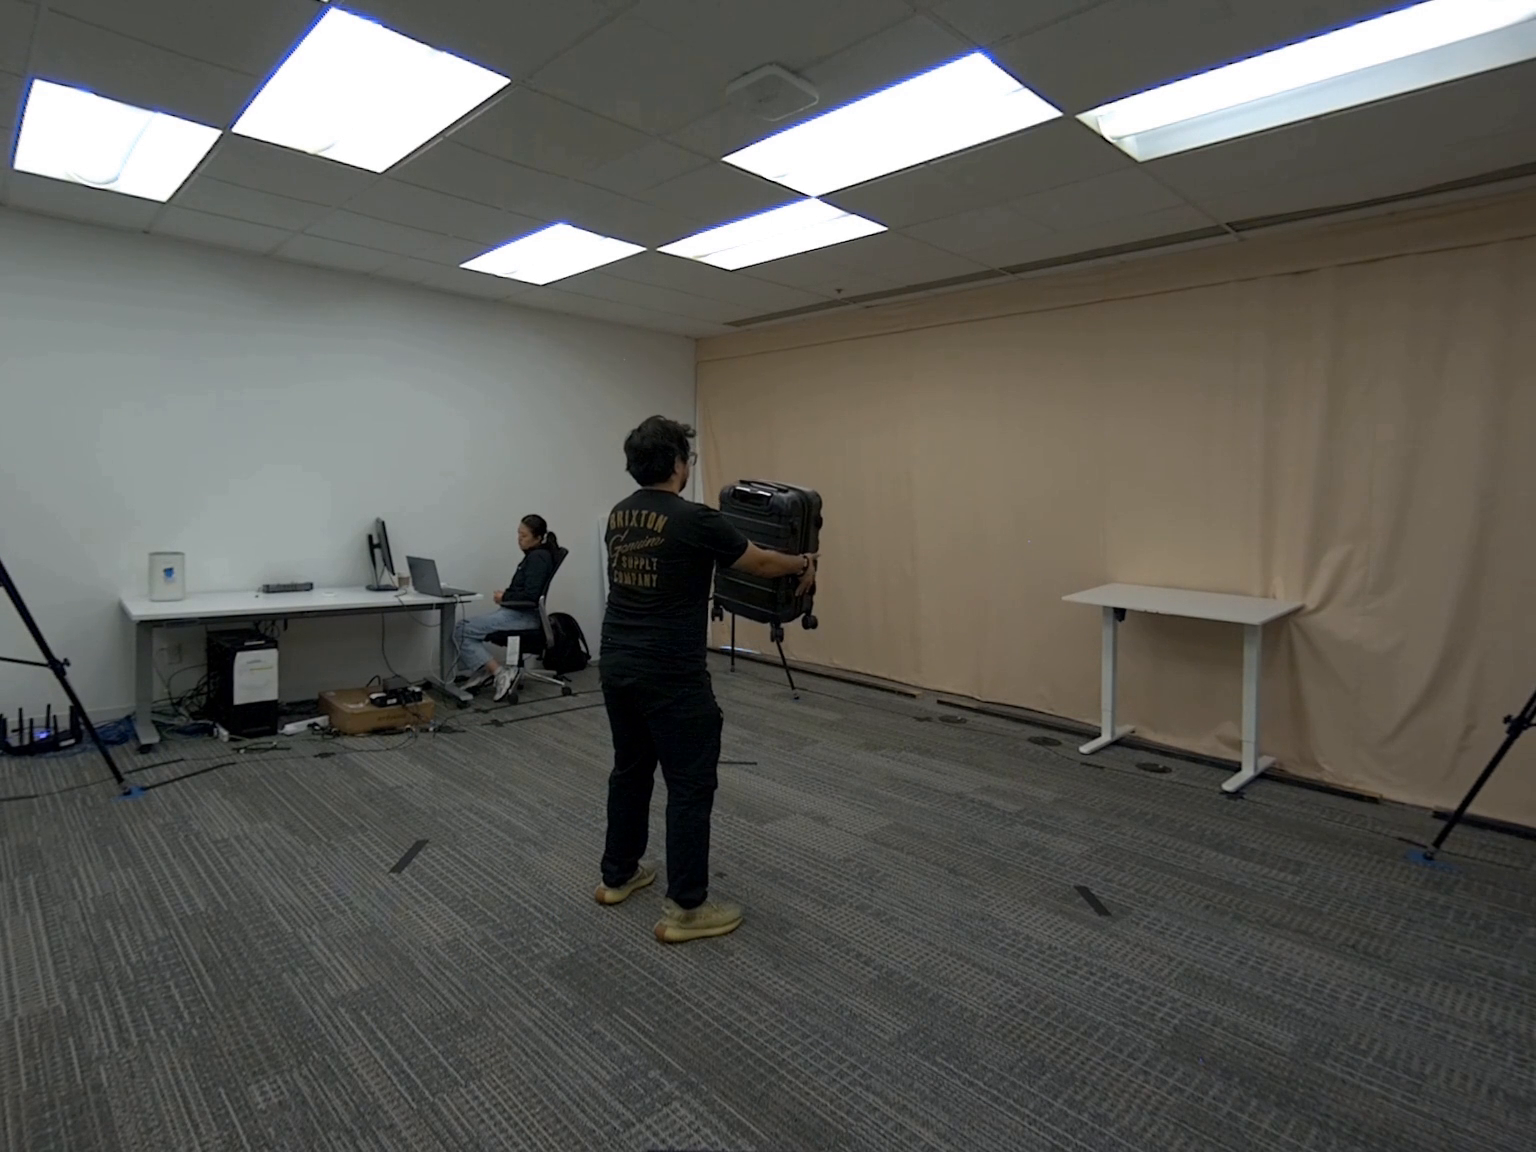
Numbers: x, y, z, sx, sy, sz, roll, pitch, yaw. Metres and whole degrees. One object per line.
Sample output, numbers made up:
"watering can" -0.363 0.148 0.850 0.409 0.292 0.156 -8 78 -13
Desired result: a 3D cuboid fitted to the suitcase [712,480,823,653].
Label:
"suitcase" -0.008 -0.079 3.168 0.386 0.544 0.244 14 17 38
